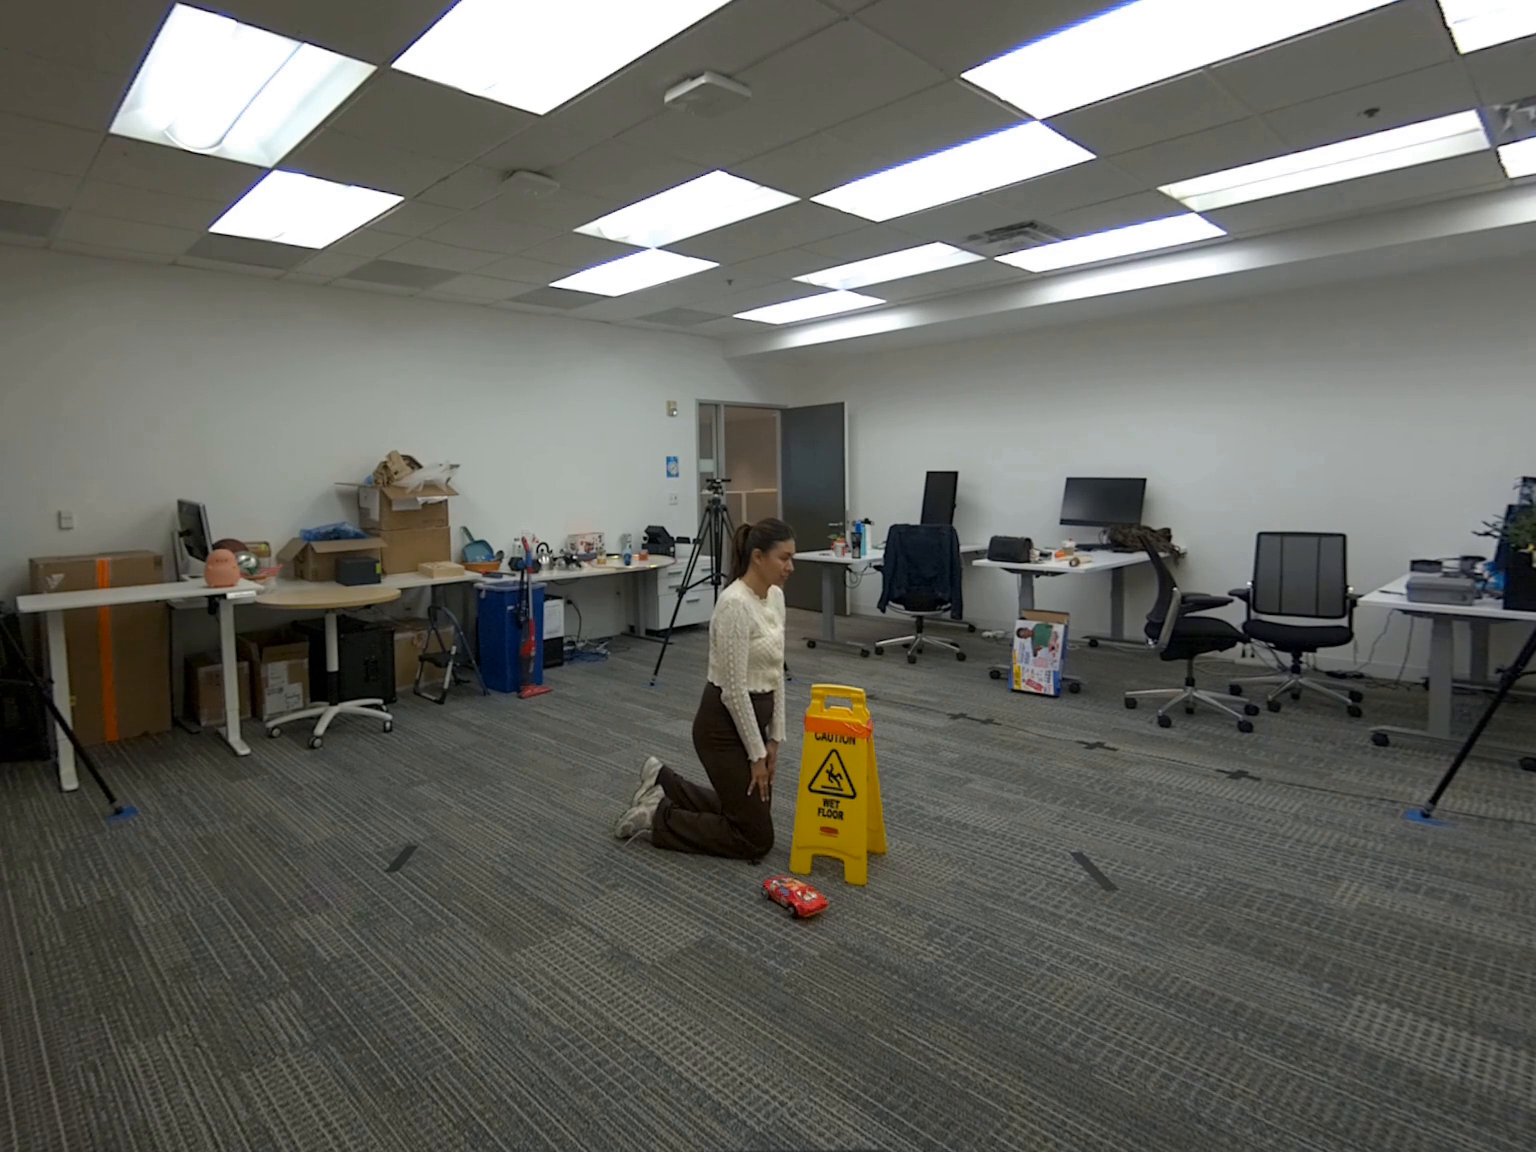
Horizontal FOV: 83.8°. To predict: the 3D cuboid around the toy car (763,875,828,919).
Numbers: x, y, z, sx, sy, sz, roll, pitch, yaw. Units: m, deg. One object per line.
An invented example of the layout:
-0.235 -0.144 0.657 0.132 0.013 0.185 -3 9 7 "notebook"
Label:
0.088 1.048 2.780 0.127 0.083 0.260 -5 -3 -33 "toy car"
